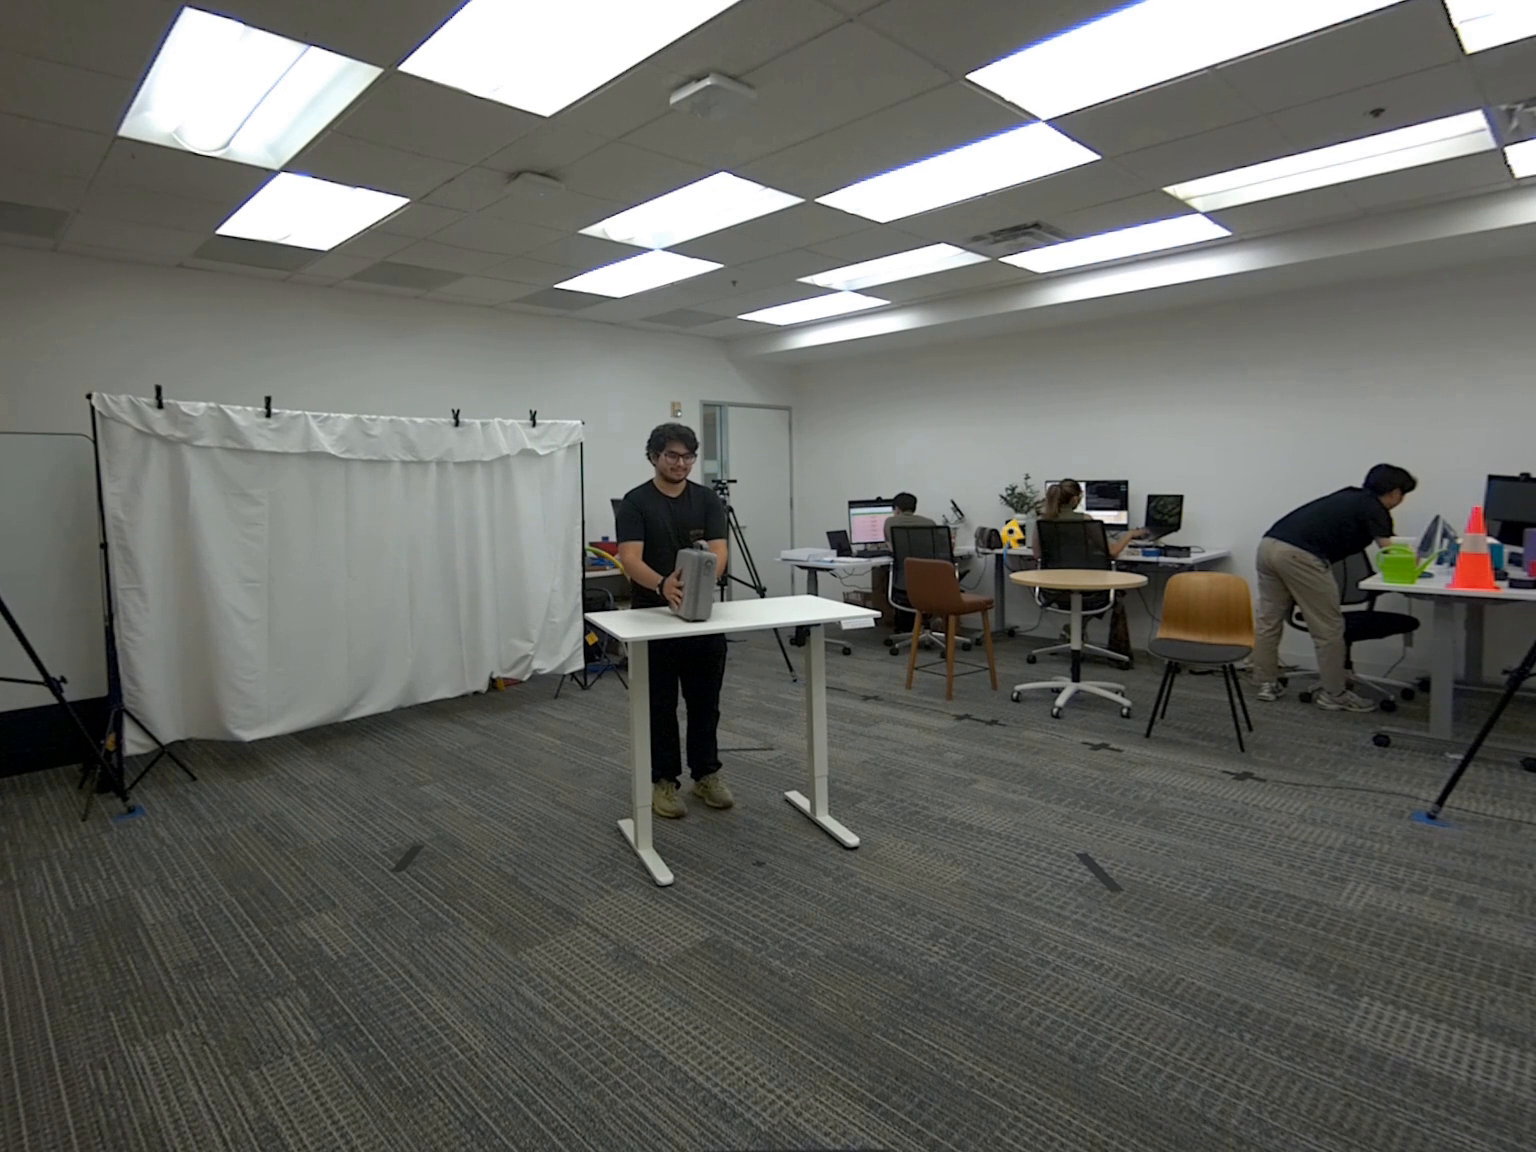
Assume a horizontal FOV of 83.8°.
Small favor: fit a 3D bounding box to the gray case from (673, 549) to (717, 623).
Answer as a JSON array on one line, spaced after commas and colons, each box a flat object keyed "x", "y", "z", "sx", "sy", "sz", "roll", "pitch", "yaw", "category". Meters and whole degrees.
[{"x": -0.280, "y": 0.029, "z": 3.214, "sx": 0.103, "sy": 0.260, "sz": 0.261, "roll": 6, "pitch": 1, "yaw": -16, "category": "gray case"}]
